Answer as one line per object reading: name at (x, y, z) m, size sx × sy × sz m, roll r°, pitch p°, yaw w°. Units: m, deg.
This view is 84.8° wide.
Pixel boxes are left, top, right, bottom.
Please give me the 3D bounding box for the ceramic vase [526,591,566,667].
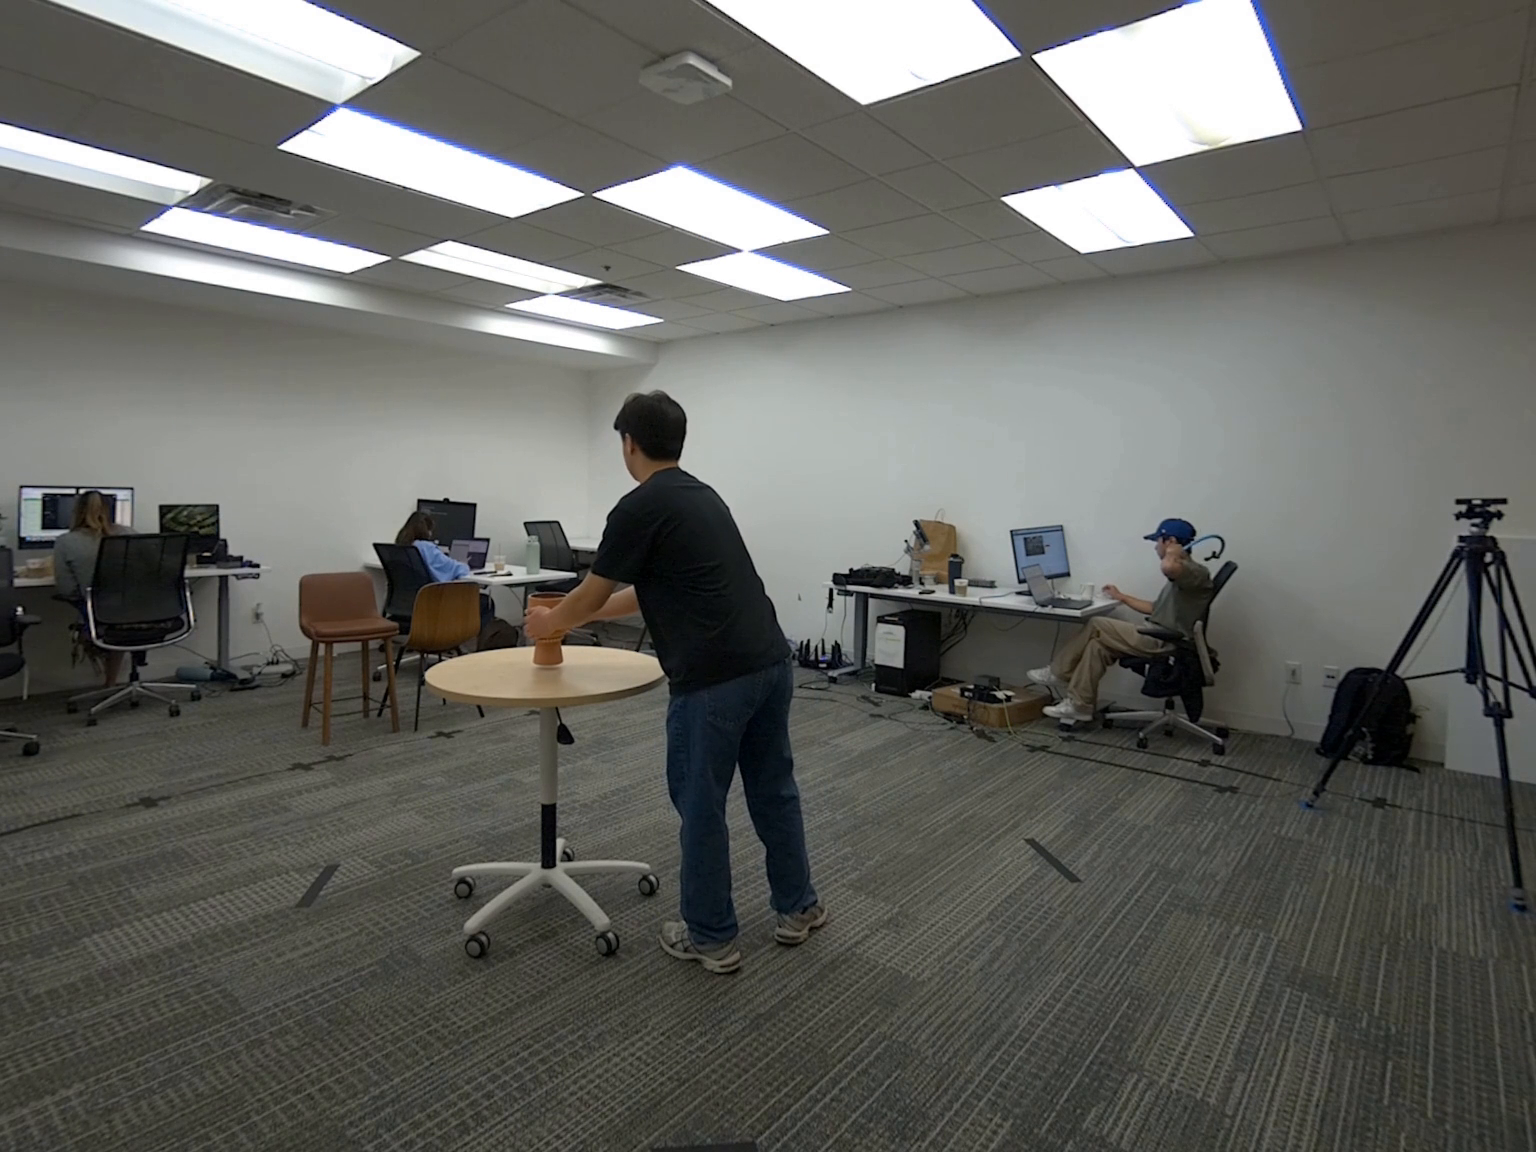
ceramic vase at (-0.729, 0.173, 2.765) m, size 0.135 × 0.218 × 0.159 m, roll 3°, pitch 7°, yaw 3°
